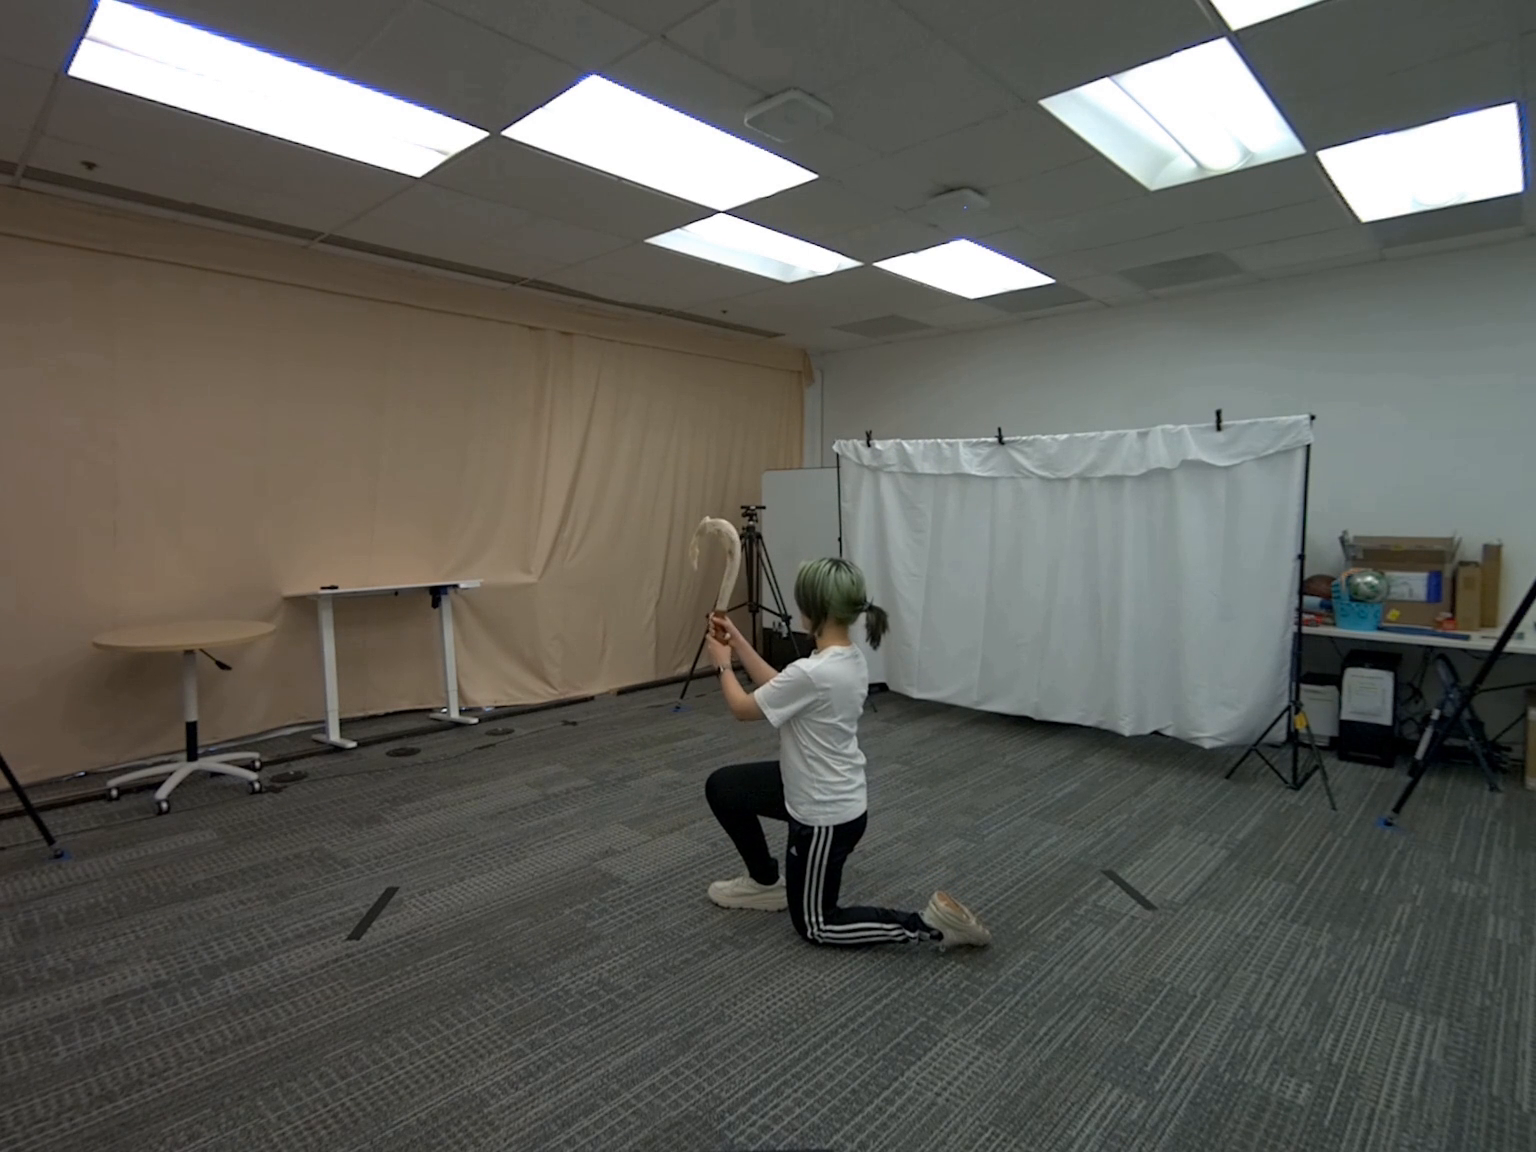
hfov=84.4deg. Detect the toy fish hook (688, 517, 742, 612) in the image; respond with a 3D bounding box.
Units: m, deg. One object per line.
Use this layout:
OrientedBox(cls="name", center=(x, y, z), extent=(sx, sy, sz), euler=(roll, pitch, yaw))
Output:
OrientedBox(cls="toy fish hook", center=(-0.179, 0.044, 2.903), extent=(0.233, 0.503, 0.047), euler=(14, 14, 43))
